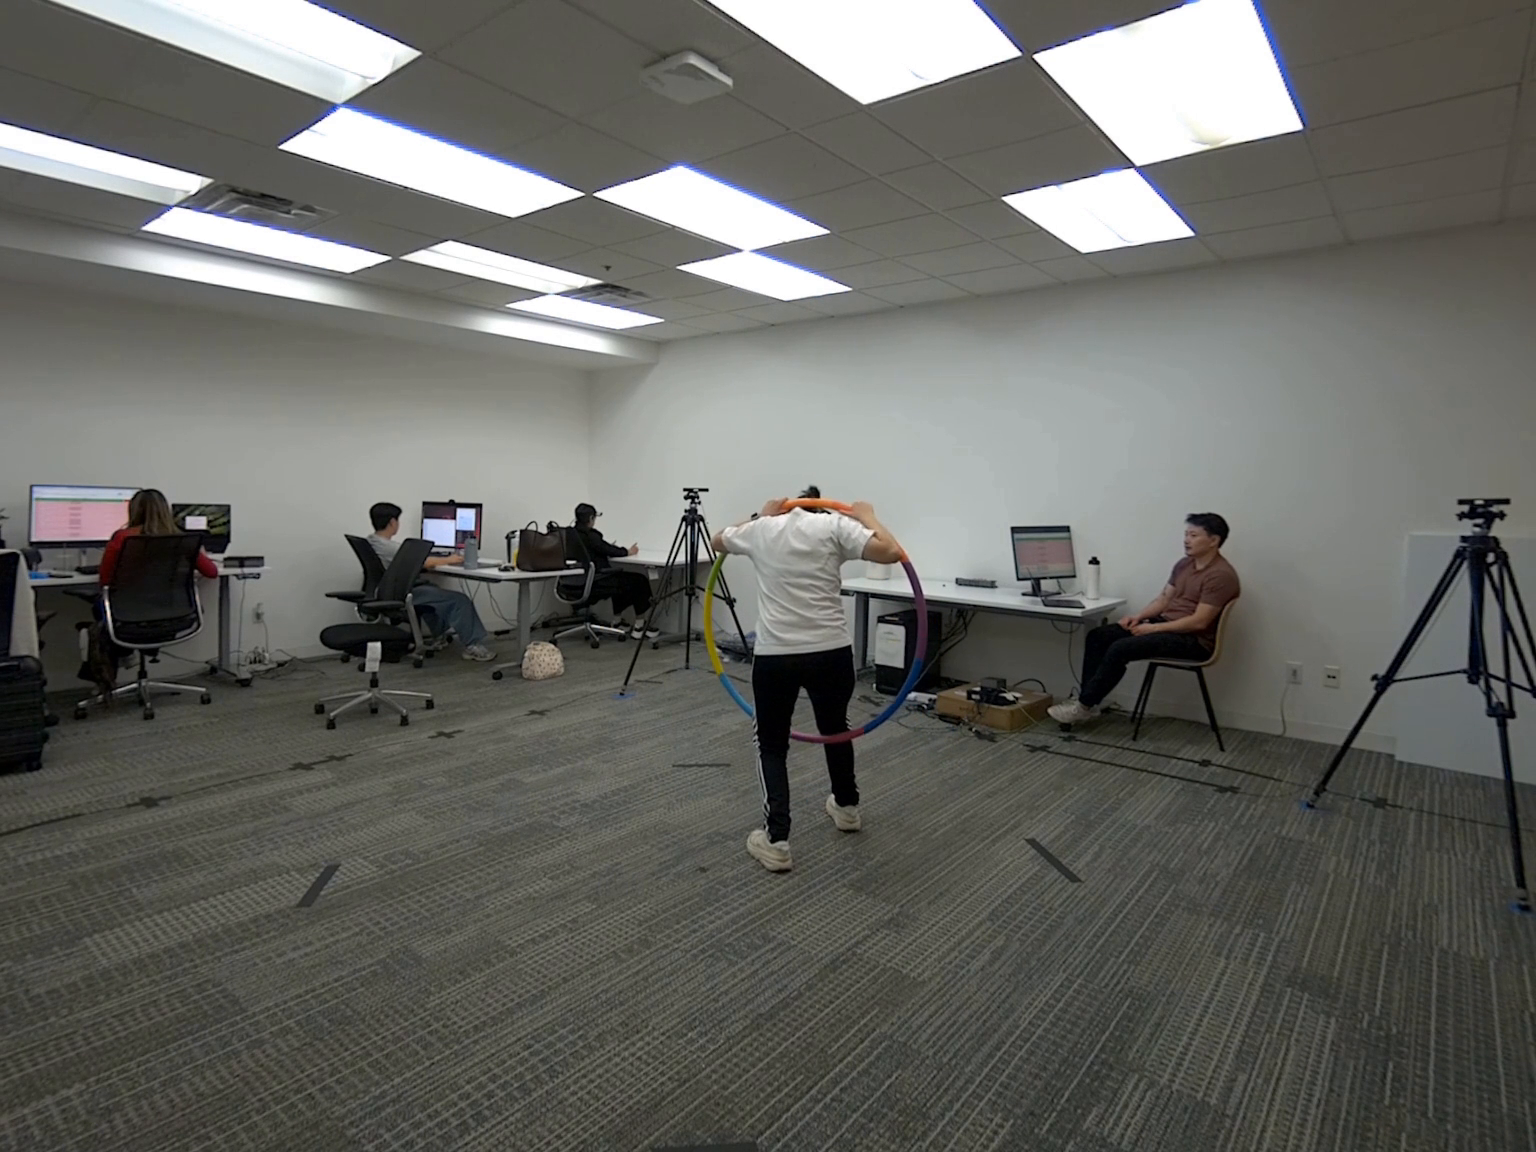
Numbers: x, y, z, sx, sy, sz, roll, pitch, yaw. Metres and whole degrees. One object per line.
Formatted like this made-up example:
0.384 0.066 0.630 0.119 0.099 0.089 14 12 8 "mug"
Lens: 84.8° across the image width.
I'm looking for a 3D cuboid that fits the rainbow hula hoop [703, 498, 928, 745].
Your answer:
0.148 0.181 3.437 1.006 0.976 0.034 3 4 29 "rainbow hula hoop"
